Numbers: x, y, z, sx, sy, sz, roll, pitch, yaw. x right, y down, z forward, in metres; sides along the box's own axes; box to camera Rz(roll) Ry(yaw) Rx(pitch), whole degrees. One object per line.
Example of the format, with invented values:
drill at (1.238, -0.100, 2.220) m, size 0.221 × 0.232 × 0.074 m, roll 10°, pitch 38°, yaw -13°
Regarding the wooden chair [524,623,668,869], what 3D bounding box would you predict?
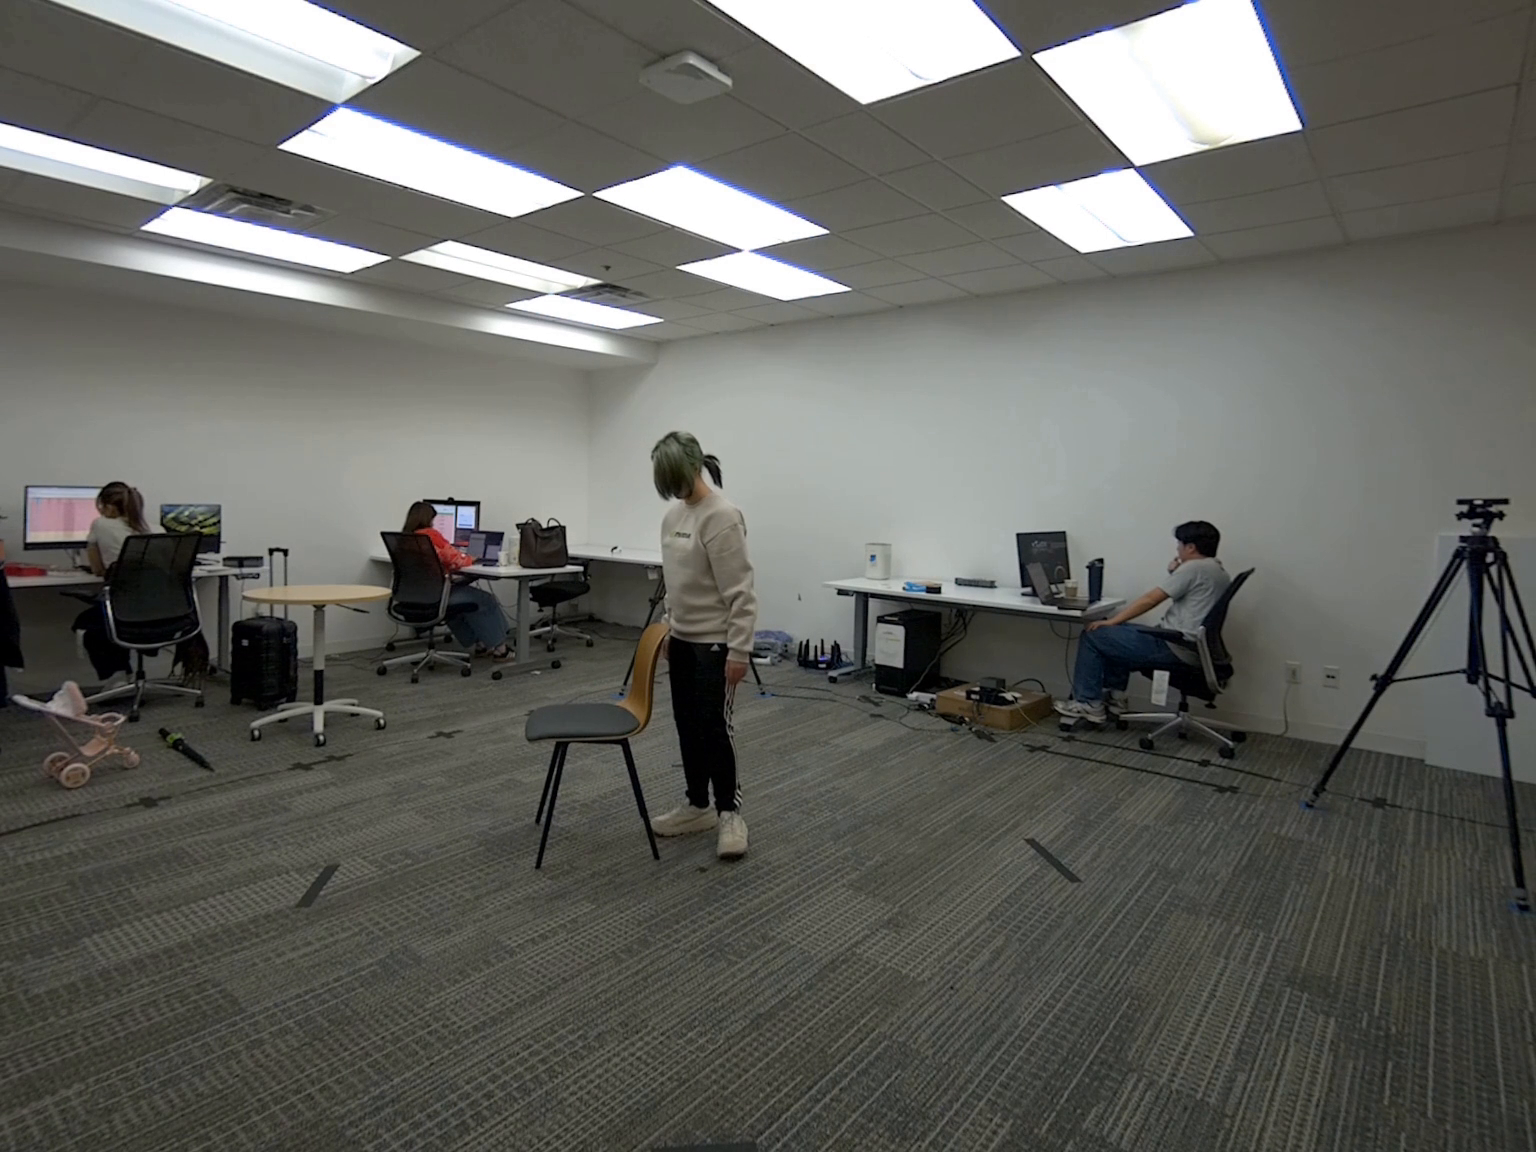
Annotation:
wooden chair at (-0.696, 0.614, 3.306) m, size 0.514 × 0.875 × 0.487 m, roll 5°, pitch 3°, yaw -16°
